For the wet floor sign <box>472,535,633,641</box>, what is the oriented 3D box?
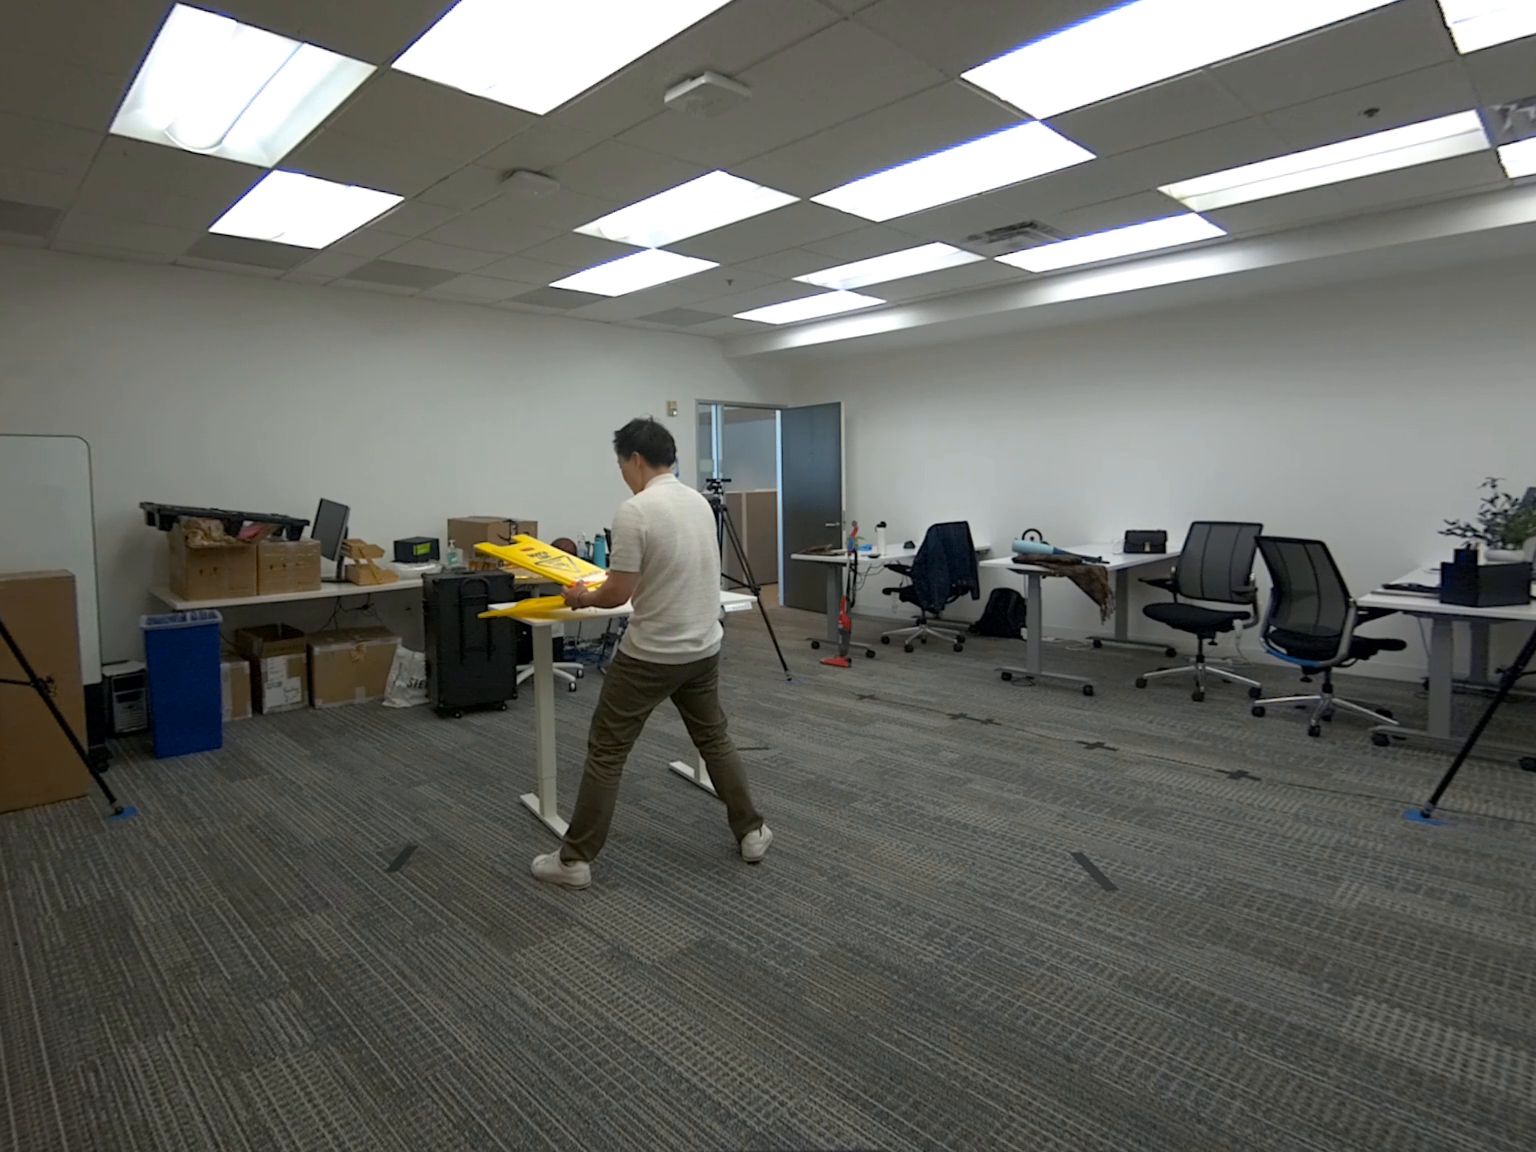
[{"bbox_3d":[-0.806,0.028,3.330,0.664,0.287,0.277,6,12,30],"label":"wet floor sign"}]
